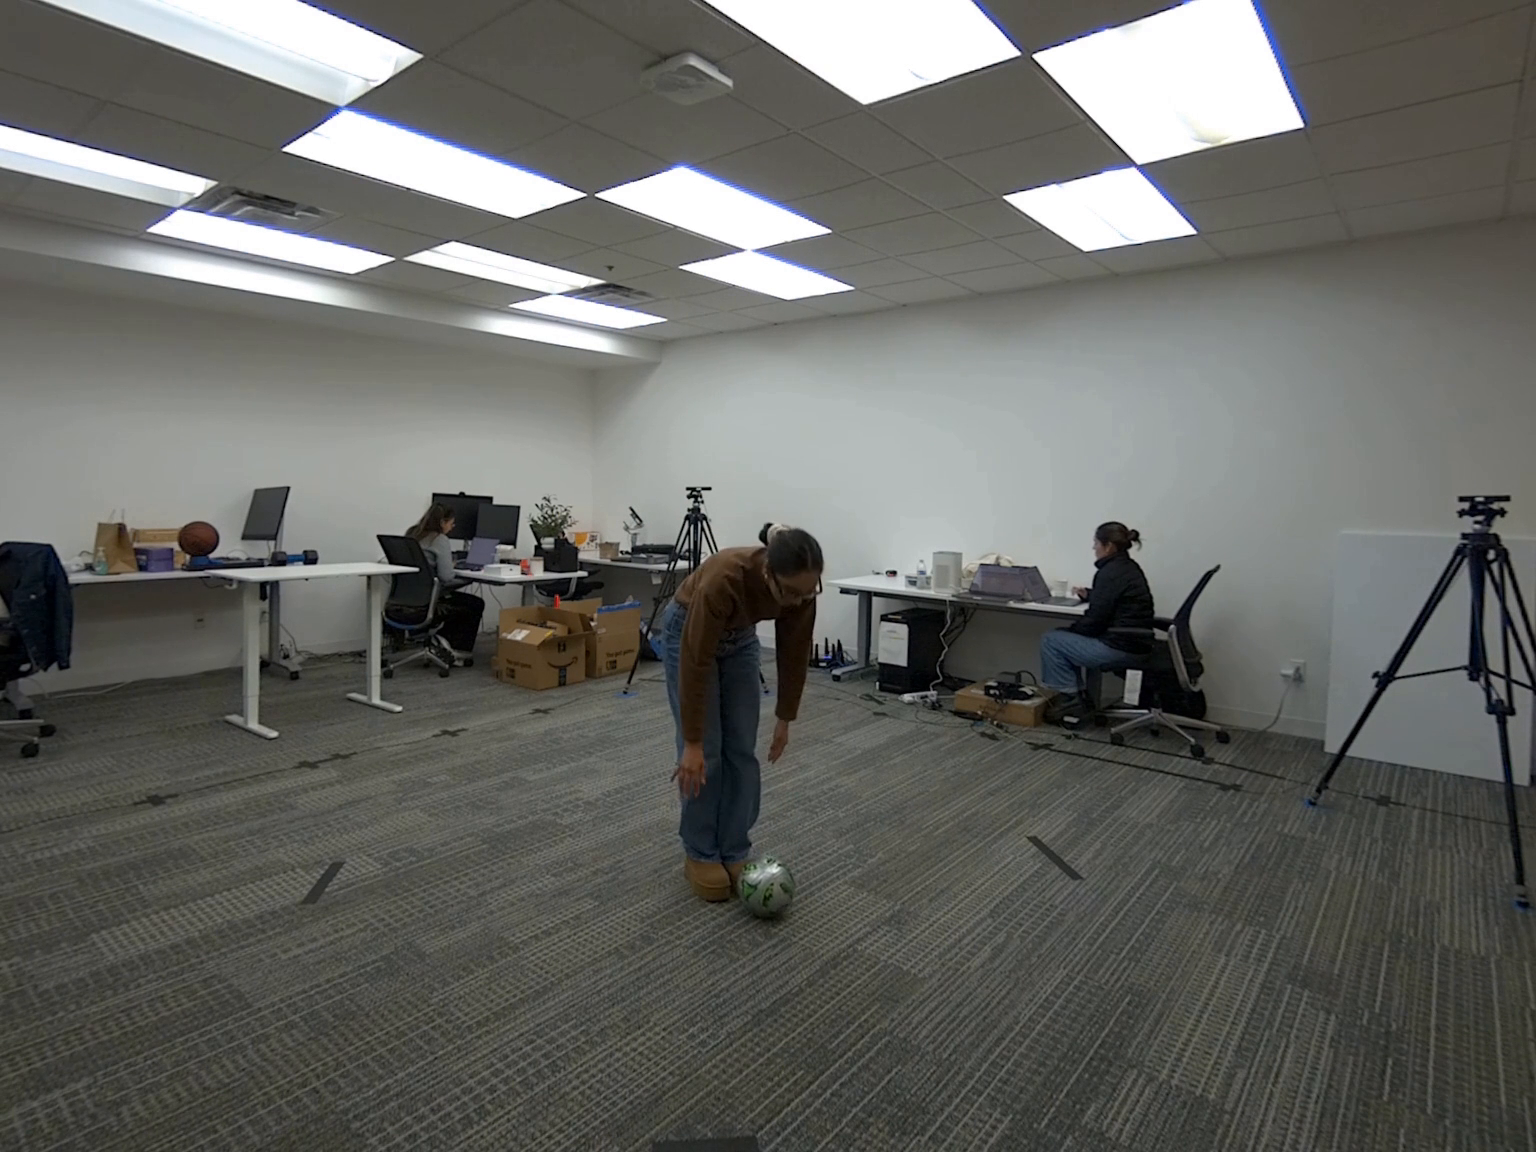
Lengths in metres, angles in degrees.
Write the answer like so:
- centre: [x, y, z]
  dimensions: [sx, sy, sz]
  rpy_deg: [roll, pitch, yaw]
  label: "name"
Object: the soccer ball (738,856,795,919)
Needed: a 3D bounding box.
- centre: [-0.013, 1.004, 2.779]
  dimensions: [0.187, 0.187, 0.188]
  rpy_deg: [1, 4, -2]
  label: "soccer ball"
